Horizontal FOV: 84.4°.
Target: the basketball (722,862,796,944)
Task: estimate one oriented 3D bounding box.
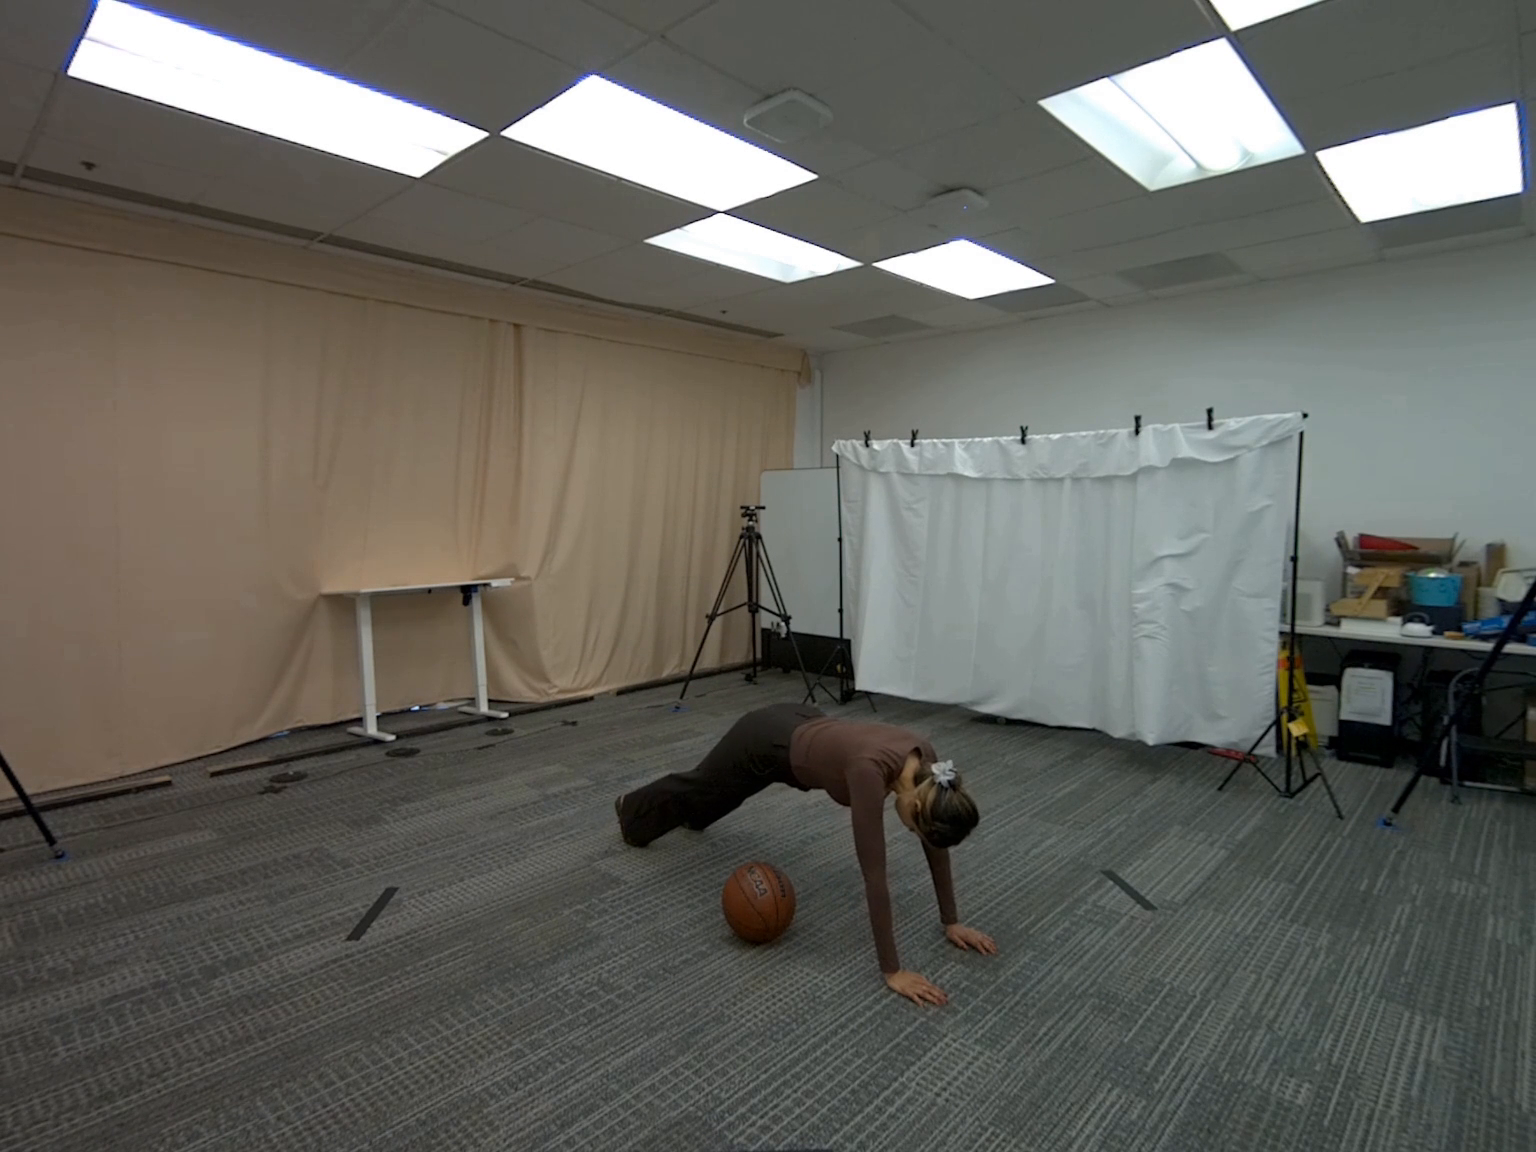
[{"bbox_3d":[-0.028,1.049,2.711,0.236,0.235,0.237,0,4,-2],"label":"basketball"}]
